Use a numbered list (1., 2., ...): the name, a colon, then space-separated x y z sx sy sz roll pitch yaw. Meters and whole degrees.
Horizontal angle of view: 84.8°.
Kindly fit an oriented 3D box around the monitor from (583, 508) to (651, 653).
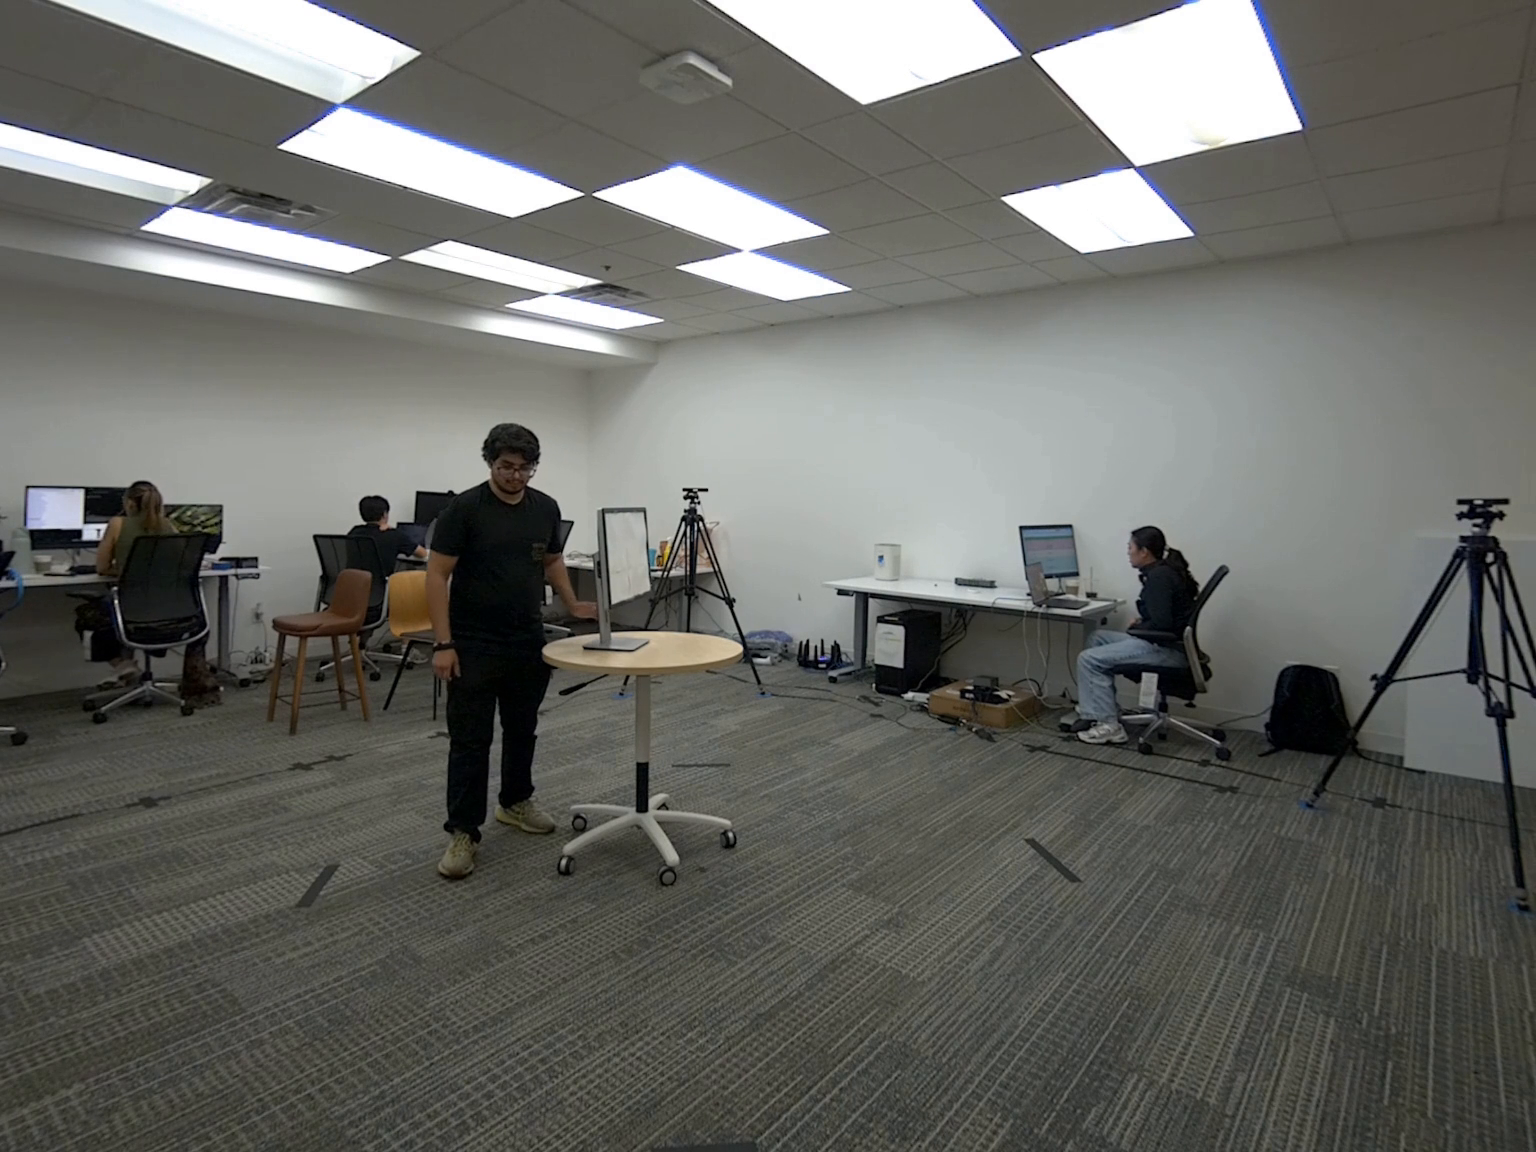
1. monitor: -0.620 0.008 3.299 0.212 0.553 0.561 -2 3 8
